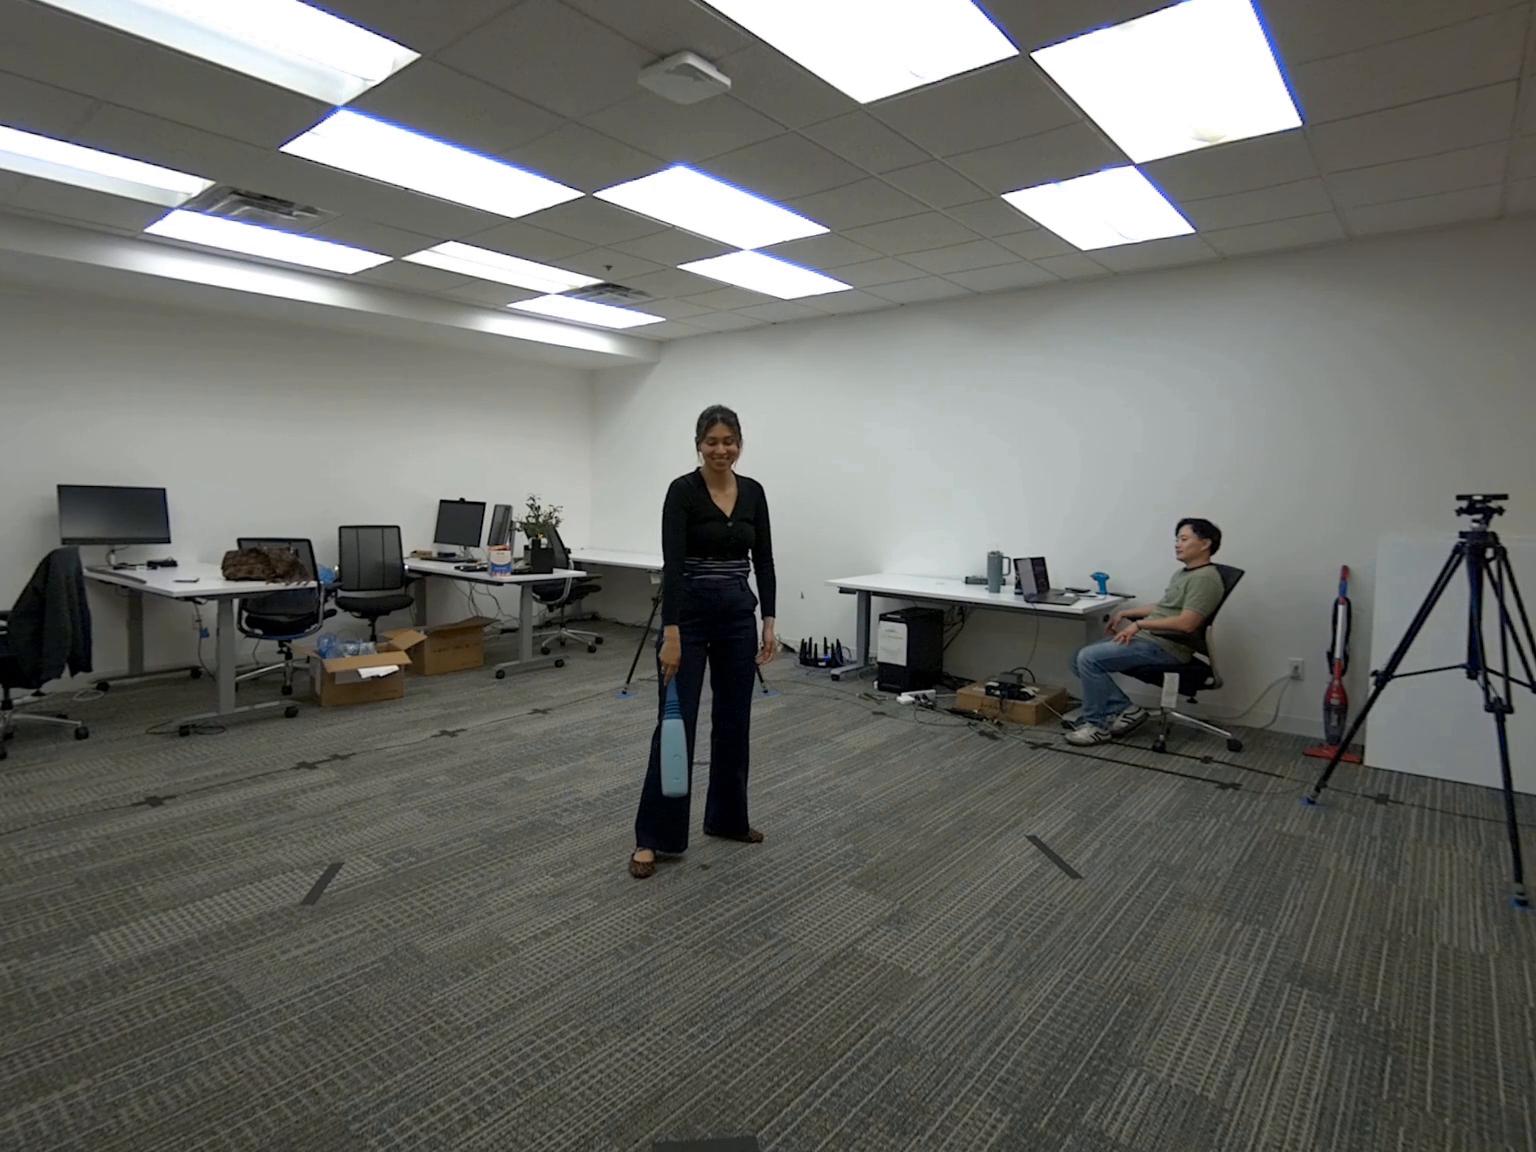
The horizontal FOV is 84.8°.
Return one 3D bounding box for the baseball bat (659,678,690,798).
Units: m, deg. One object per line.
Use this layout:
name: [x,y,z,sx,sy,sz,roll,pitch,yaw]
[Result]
baseball bat: [-0.330,0.479,2.944,0.089,0.555,0.087,-6,-21,-4]
